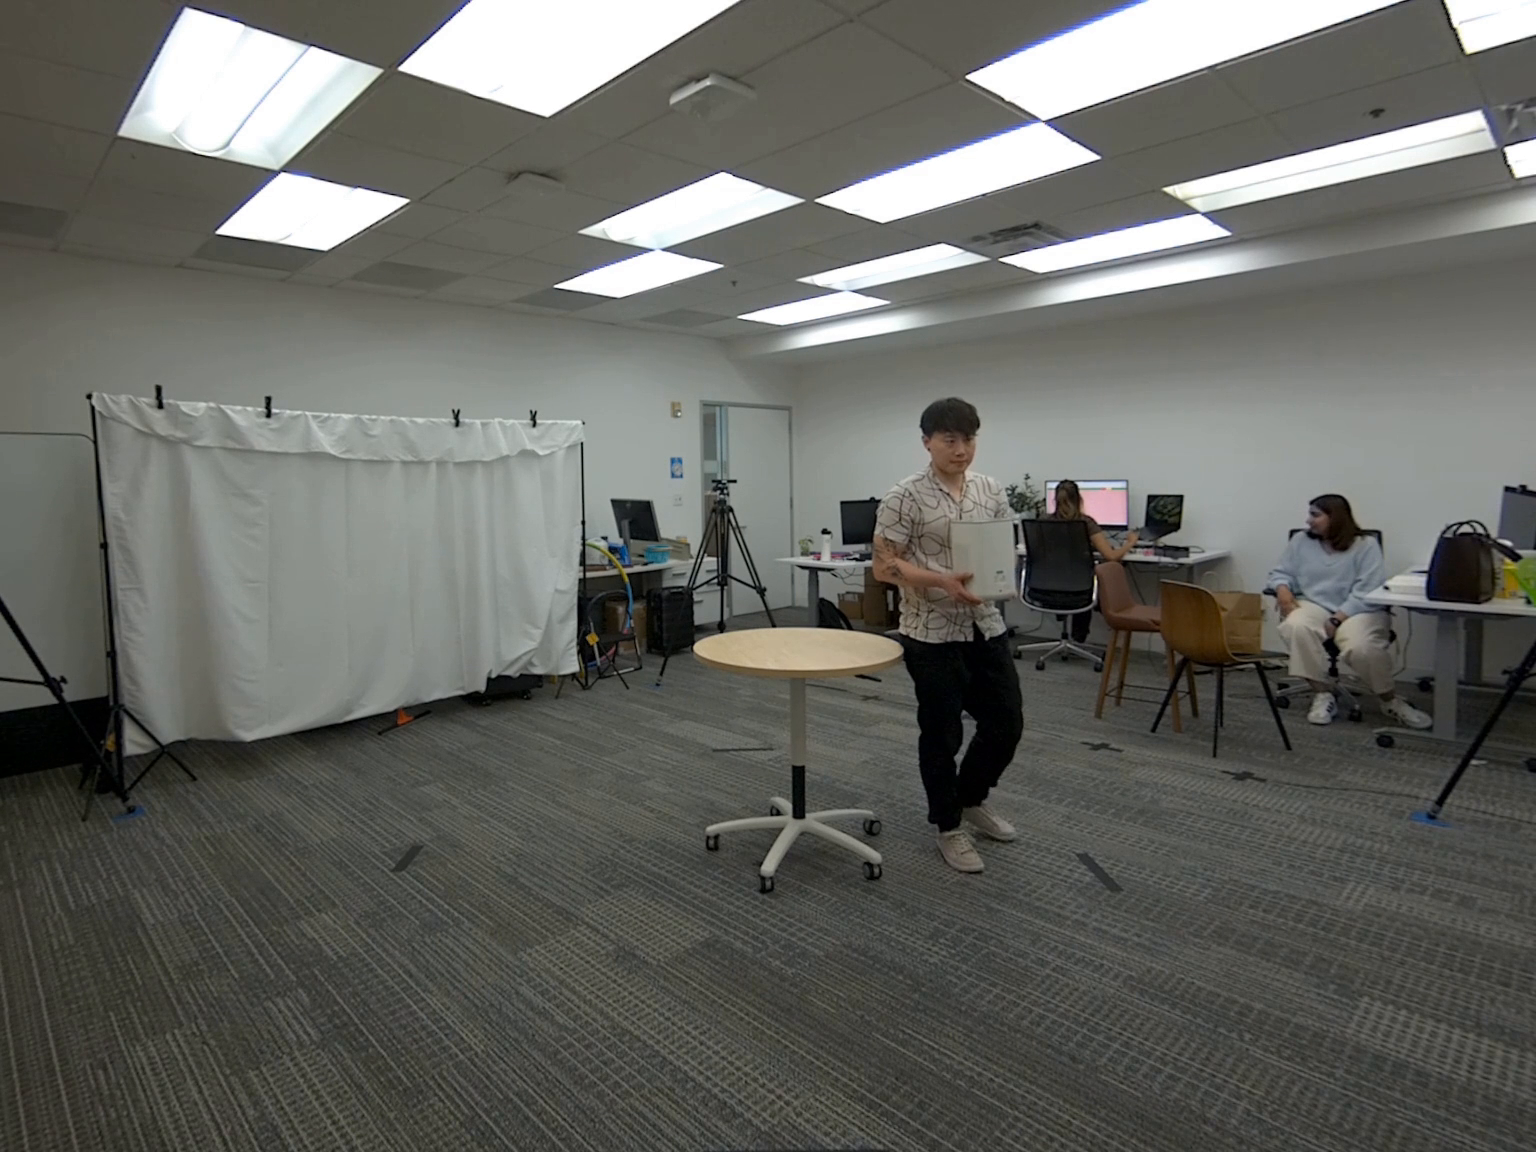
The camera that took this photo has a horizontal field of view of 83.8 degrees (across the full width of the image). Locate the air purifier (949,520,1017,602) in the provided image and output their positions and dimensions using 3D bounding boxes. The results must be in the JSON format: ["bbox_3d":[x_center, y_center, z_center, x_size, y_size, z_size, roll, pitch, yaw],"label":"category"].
[{"bbox_3d":[0.725,-0.055,2.869,0.168,0.265,0.175,-4,3,-22],"label":"air purifier"}]
